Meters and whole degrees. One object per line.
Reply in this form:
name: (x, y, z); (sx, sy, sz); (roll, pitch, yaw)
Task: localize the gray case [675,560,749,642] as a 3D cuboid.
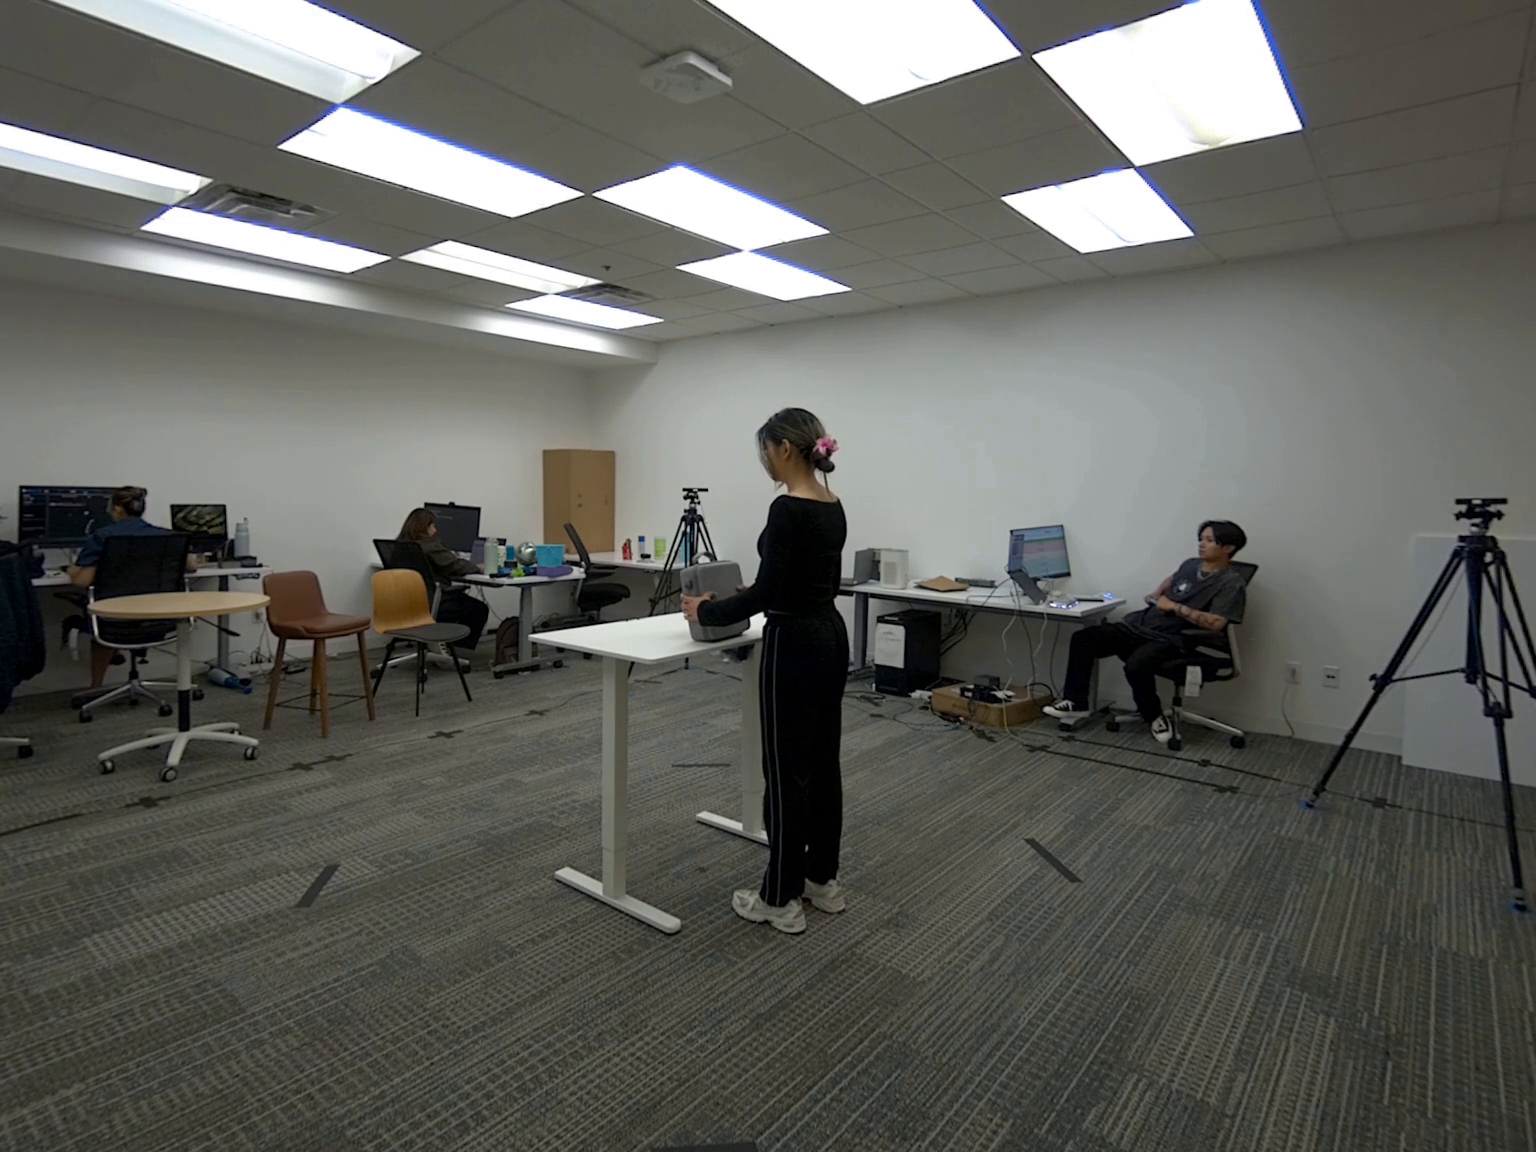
gray case: (-0.189, 0.076, 2.904); (0.106, 0.262, 0.250); (-13, -4, 31)
